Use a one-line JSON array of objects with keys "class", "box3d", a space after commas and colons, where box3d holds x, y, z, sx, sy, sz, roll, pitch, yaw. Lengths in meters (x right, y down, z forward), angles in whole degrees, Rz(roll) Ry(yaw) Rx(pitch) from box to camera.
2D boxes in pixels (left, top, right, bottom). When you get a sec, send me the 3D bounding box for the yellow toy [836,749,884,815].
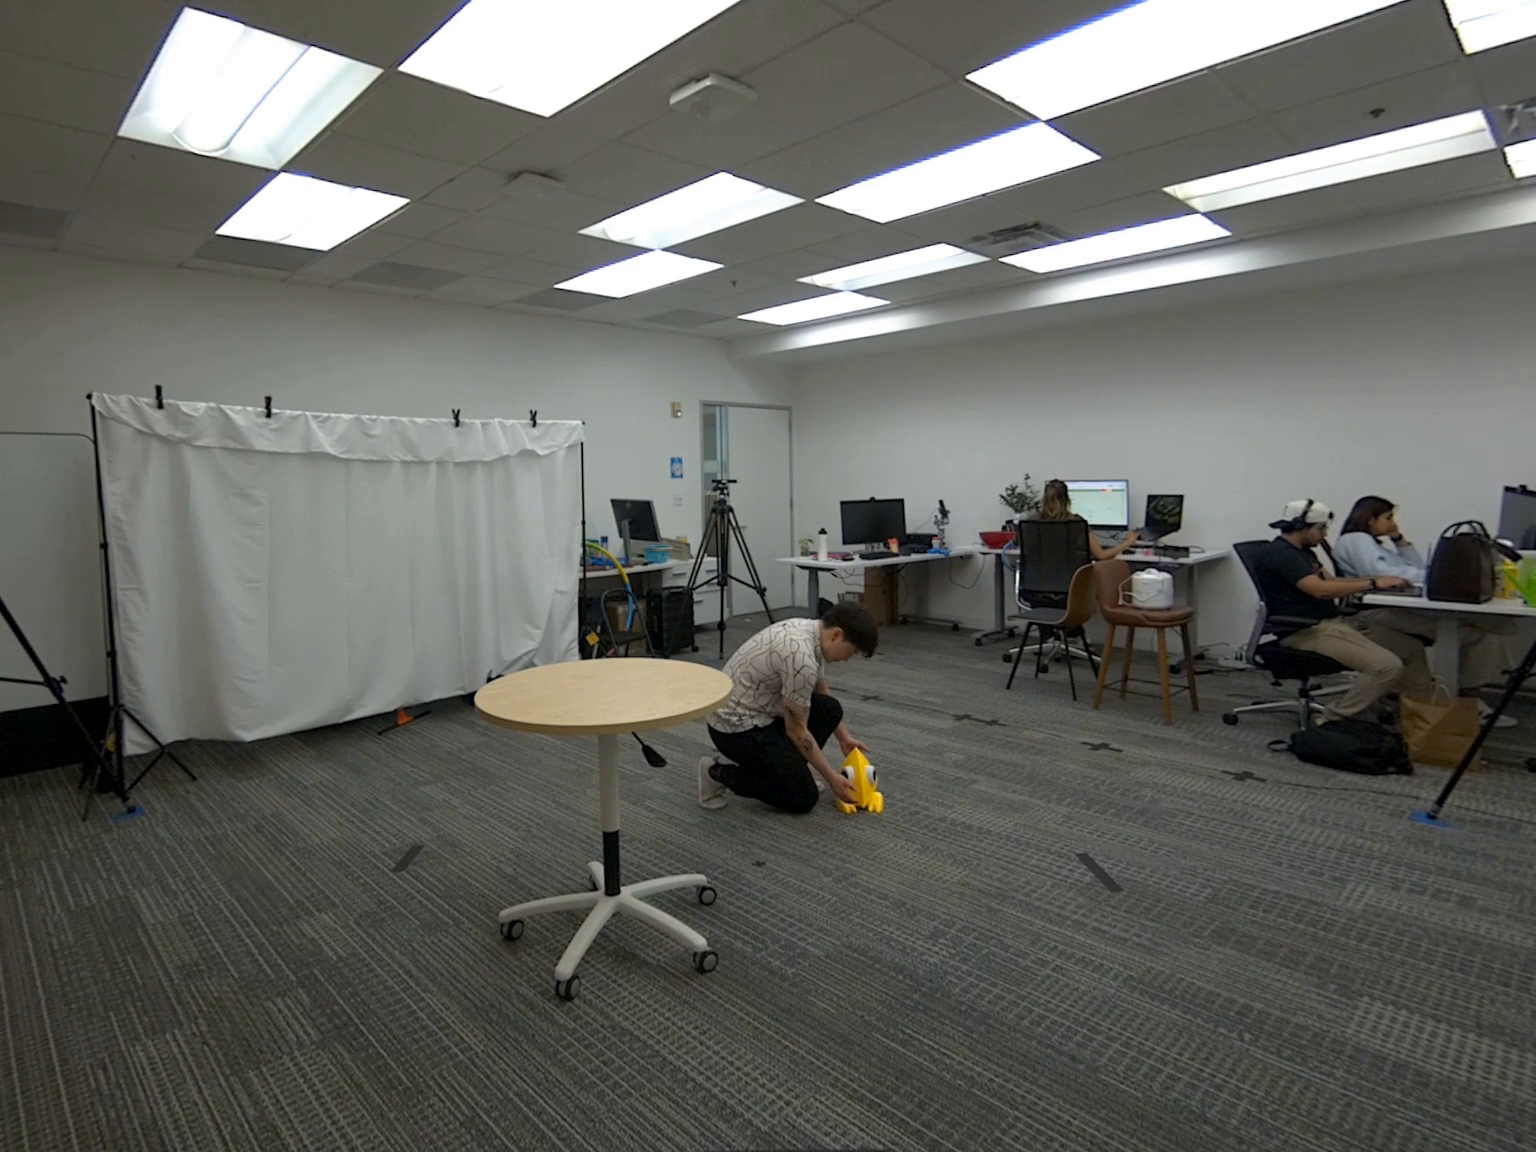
[{"class": "yellow toy", "box3d": [0.384, 0.863, 3.642, 0.204, 0.230, 0.194, -1, 3, -3]}]
